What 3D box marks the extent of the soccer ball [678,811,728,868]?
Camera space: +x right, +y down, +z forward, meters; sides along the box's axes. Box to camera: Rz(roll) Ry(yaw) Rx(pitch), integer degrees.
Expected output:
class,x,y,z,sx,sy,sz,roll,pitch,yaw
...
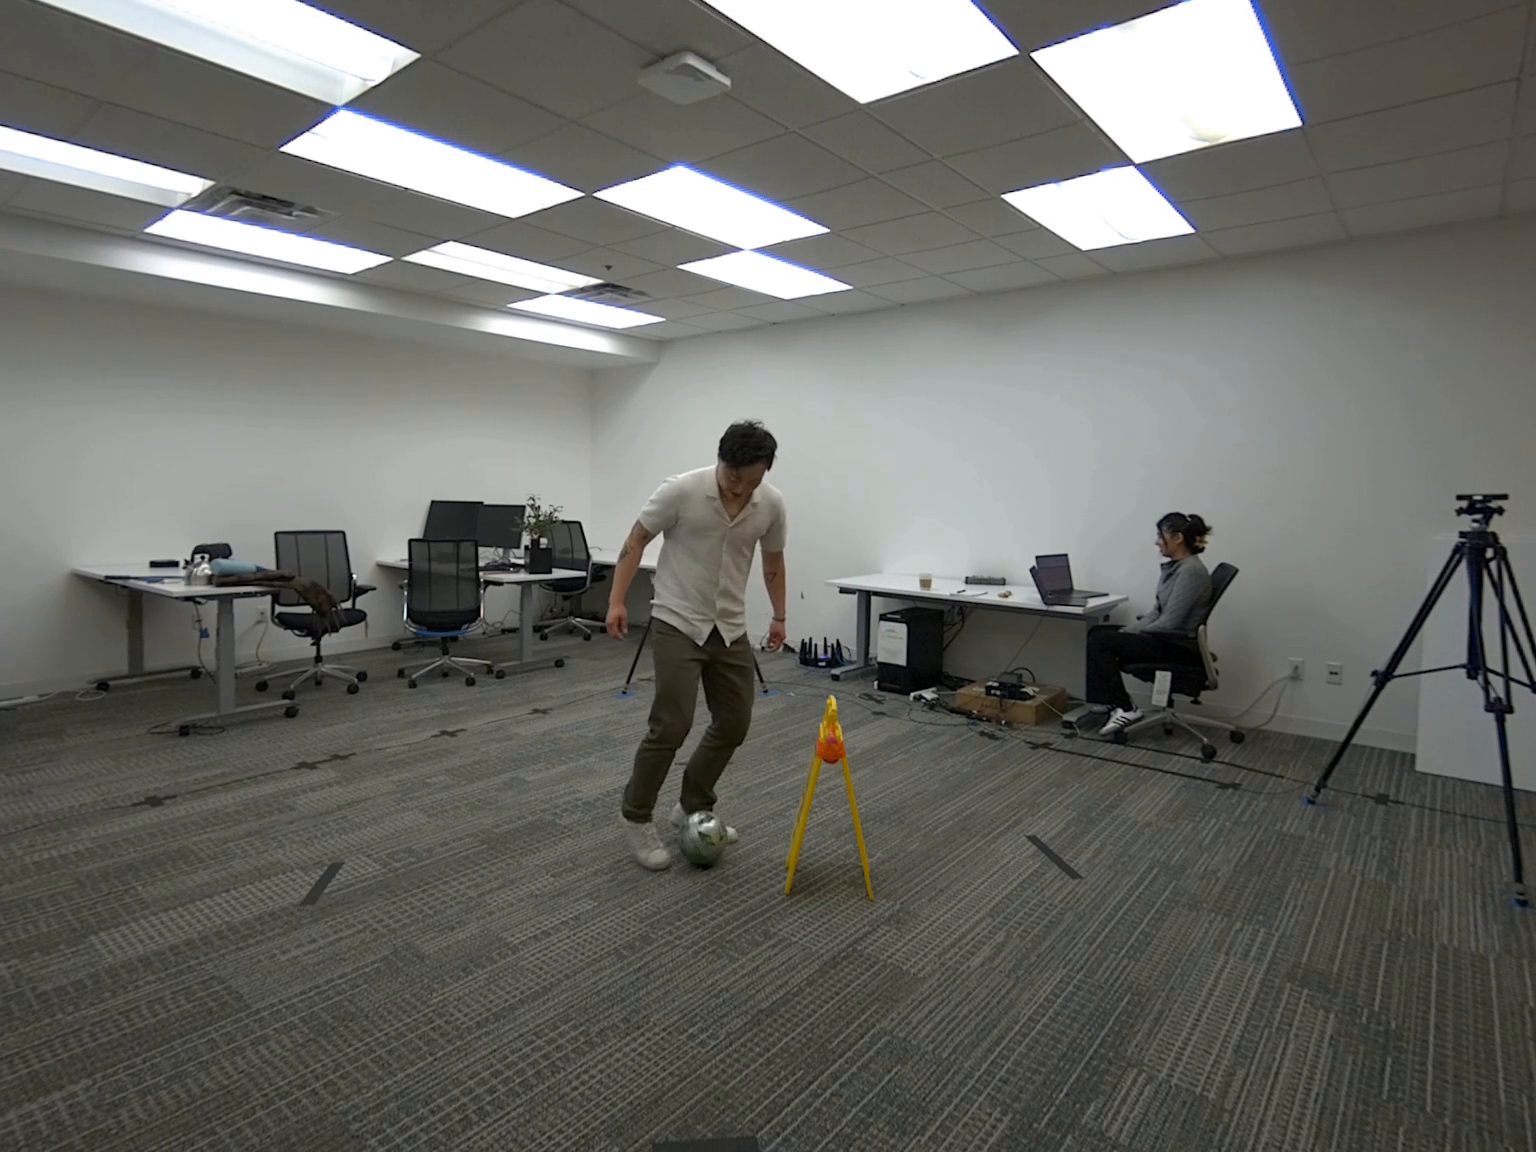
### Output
class,x,y,z,sx,sy,sz,roll,pitch,yaw
soccer ball,-0.257,0.976,3.156,0.187,0.187,0.188,0,4,-2
